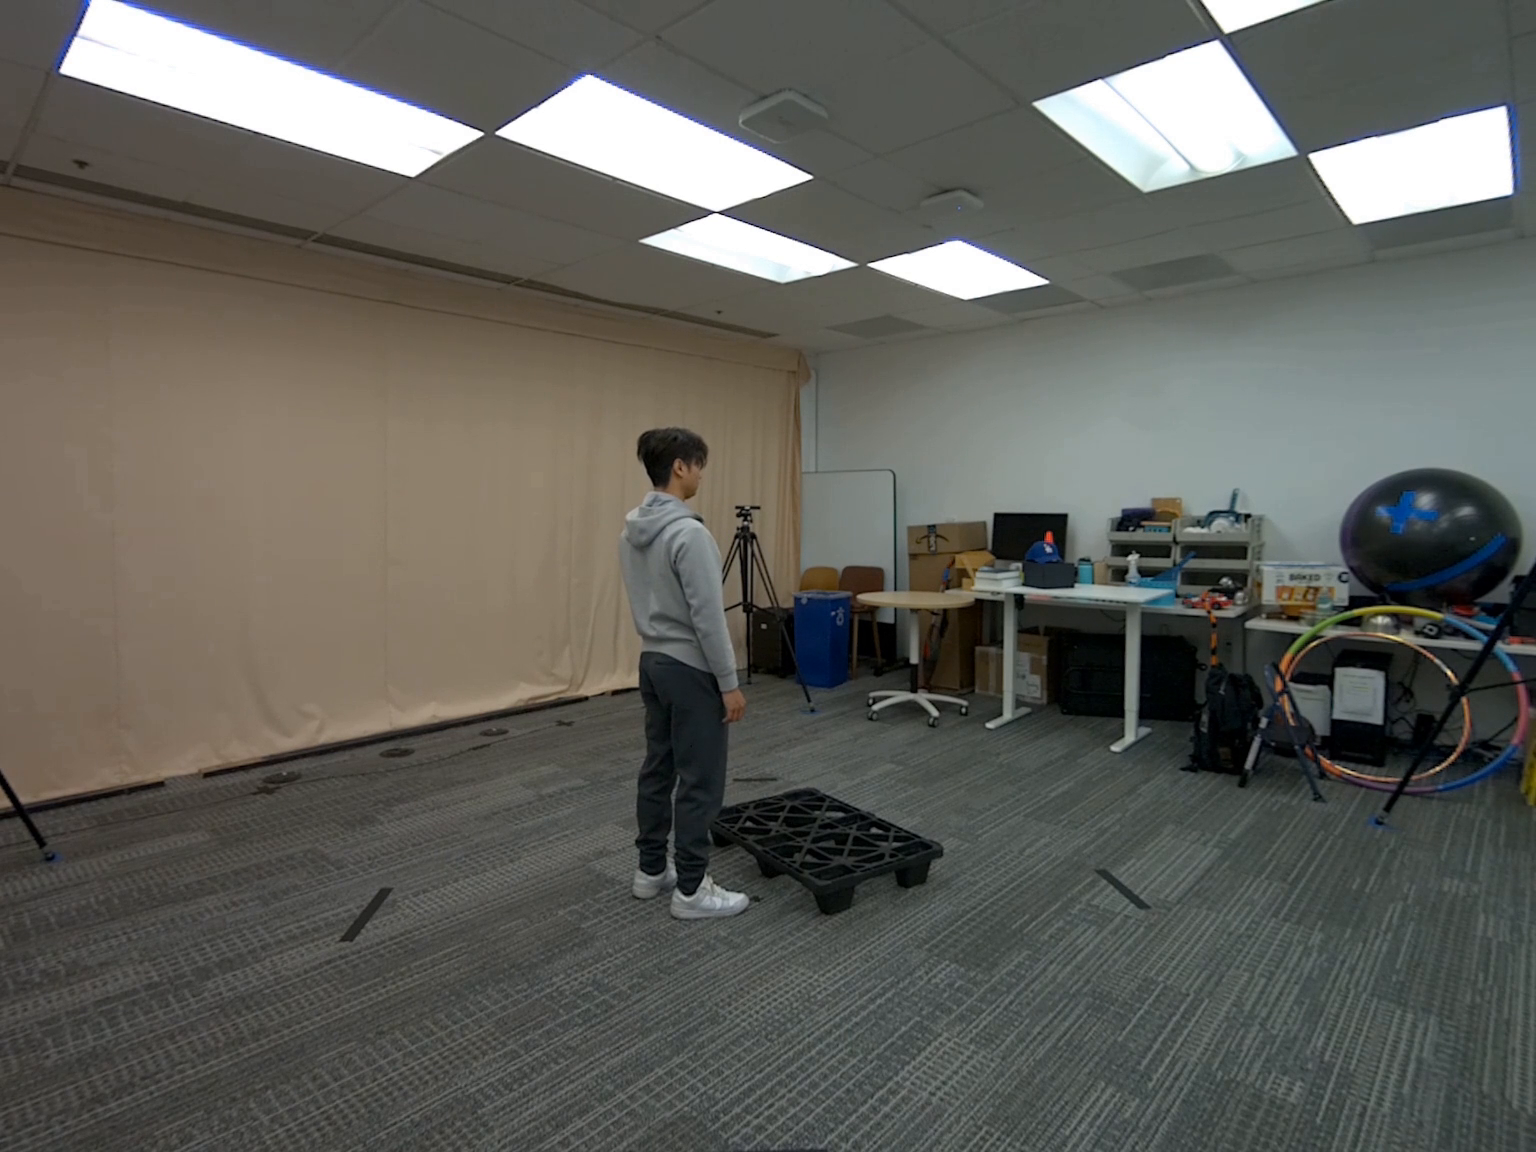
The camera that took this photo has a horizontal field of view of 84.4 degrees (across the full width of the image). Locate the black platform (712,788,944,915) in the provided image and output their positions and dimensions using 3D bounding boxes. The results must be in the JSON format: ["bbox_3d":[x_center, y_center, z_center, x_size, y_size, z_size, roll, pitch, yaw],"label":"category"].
[{"bbox_3d":[0.183,1.052,3.279,0.588,0.143,0.831,-4,6,-34],"label":"black platform"}]
